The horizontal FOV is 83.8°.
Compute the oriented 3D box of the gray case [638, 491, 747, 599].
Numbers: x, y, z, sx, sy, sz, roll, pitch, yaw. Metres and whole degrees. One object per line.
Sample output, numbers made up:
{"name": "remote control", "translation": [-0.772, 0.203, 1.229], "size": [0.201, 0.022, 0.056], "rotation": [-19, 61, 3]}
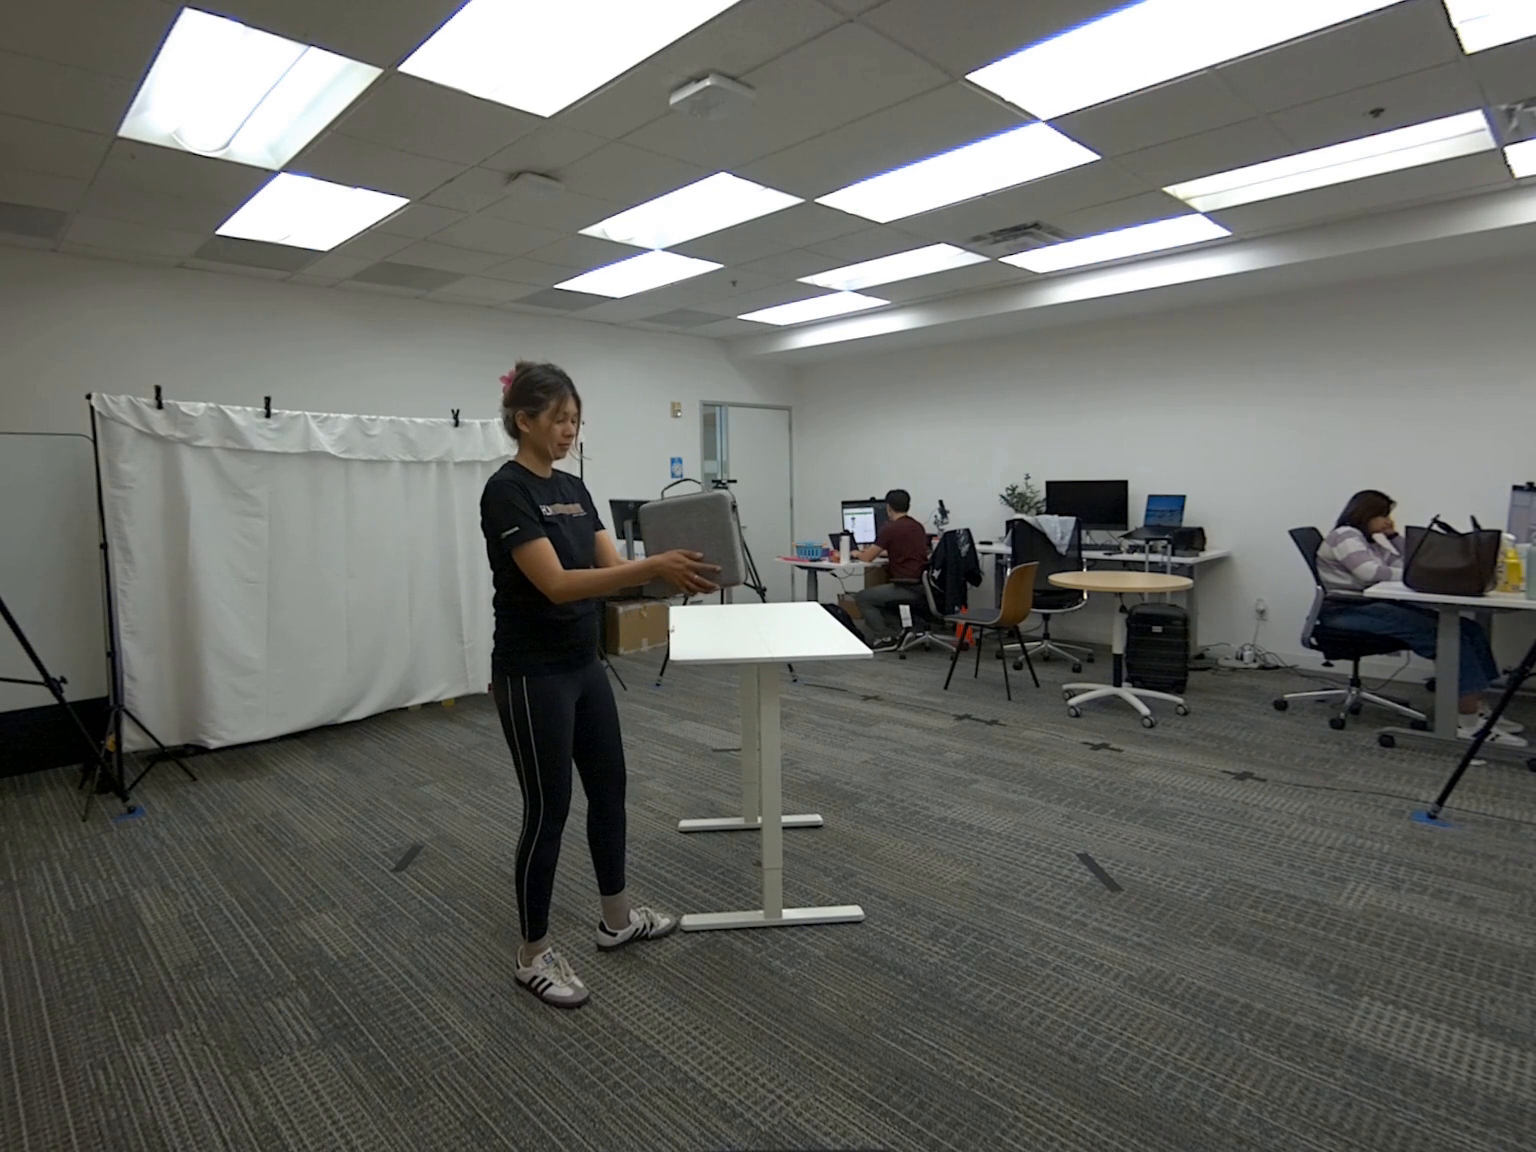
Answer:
{"name": "gray case", "translation": [-0.188, -0.090, 2.225], "size": [0.260, 0.260, 0.103], "rotation": [-10, 2, 14]}
